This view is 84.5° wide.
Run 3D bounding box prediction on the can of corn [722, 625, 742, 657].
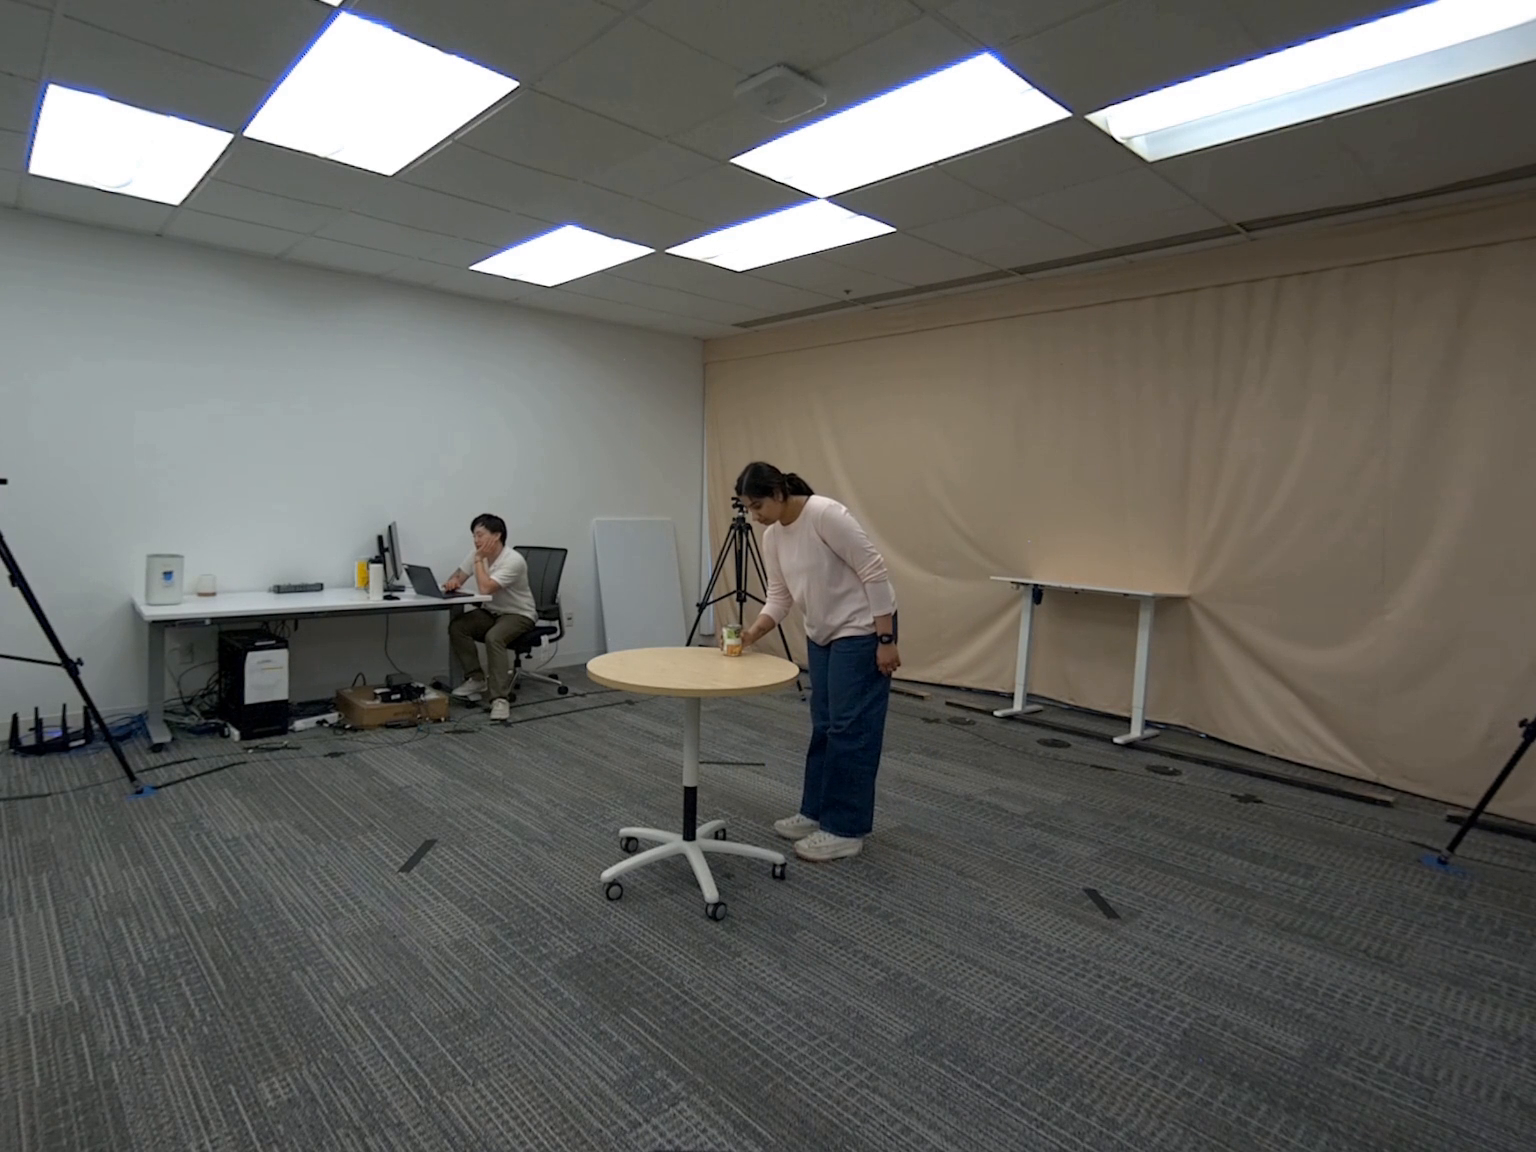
[{"bbox_3d":[-0.159,0.254,3.270,0.074,0.111,0.074,1,0,-1],"label":"can of corn"}]
